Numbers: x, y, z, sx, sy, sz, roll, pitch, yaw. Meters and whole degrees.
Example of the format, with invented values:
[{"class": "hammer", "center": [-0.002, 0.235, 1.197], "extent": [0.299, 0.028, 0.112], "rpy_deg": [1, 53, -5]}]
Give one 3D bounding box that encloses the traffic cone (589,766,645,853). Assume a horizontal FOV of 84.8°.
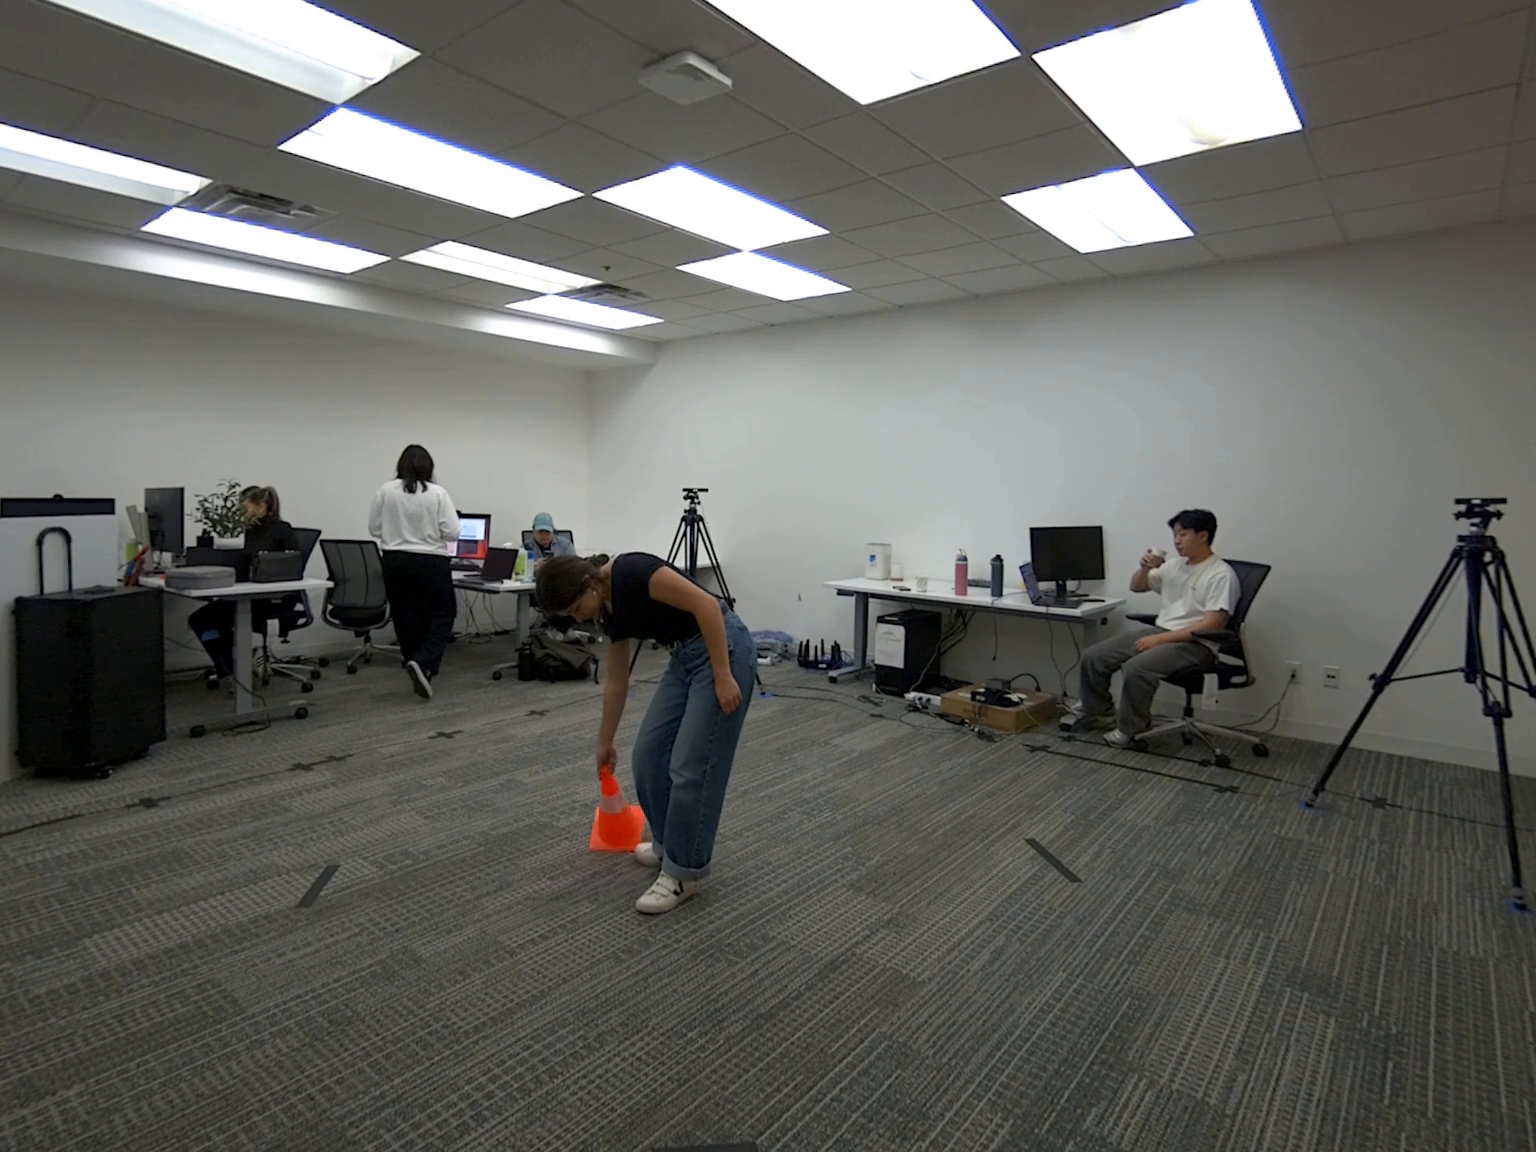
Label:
[{"class": "traffic cone", "center": [-0.590, 0.839, 3.230], "extent": [0.205, 0.372, 0.210], "rpy_deg": [2, 39, 5]}]
